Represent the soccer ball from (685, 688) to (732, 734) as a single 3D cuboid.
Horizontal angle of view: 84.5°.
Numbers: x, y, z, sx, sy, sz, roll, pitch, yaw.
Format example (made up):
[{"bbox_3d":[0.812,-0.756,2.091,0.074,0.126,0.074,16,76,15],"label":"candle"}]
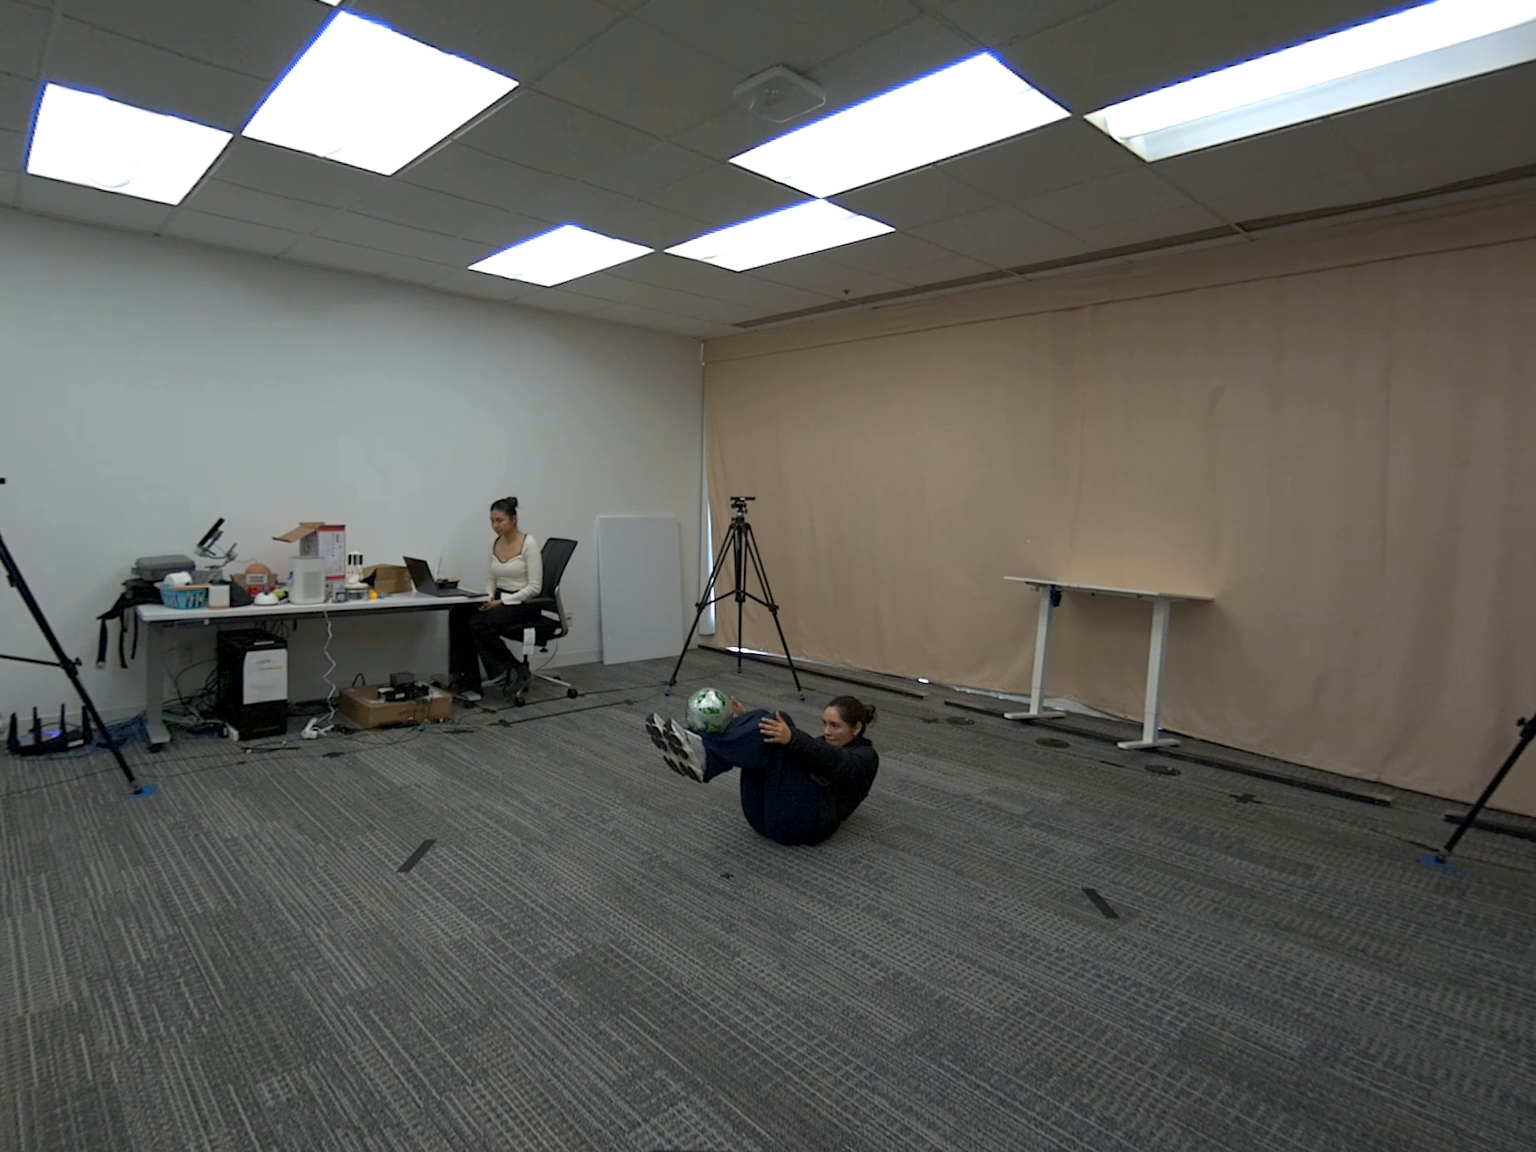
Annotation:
[{"bbox_3d":[-0.231,0.529,3.241,0.187,0.186,0.188,0,7,-1],"label":"soccer ball"}]
